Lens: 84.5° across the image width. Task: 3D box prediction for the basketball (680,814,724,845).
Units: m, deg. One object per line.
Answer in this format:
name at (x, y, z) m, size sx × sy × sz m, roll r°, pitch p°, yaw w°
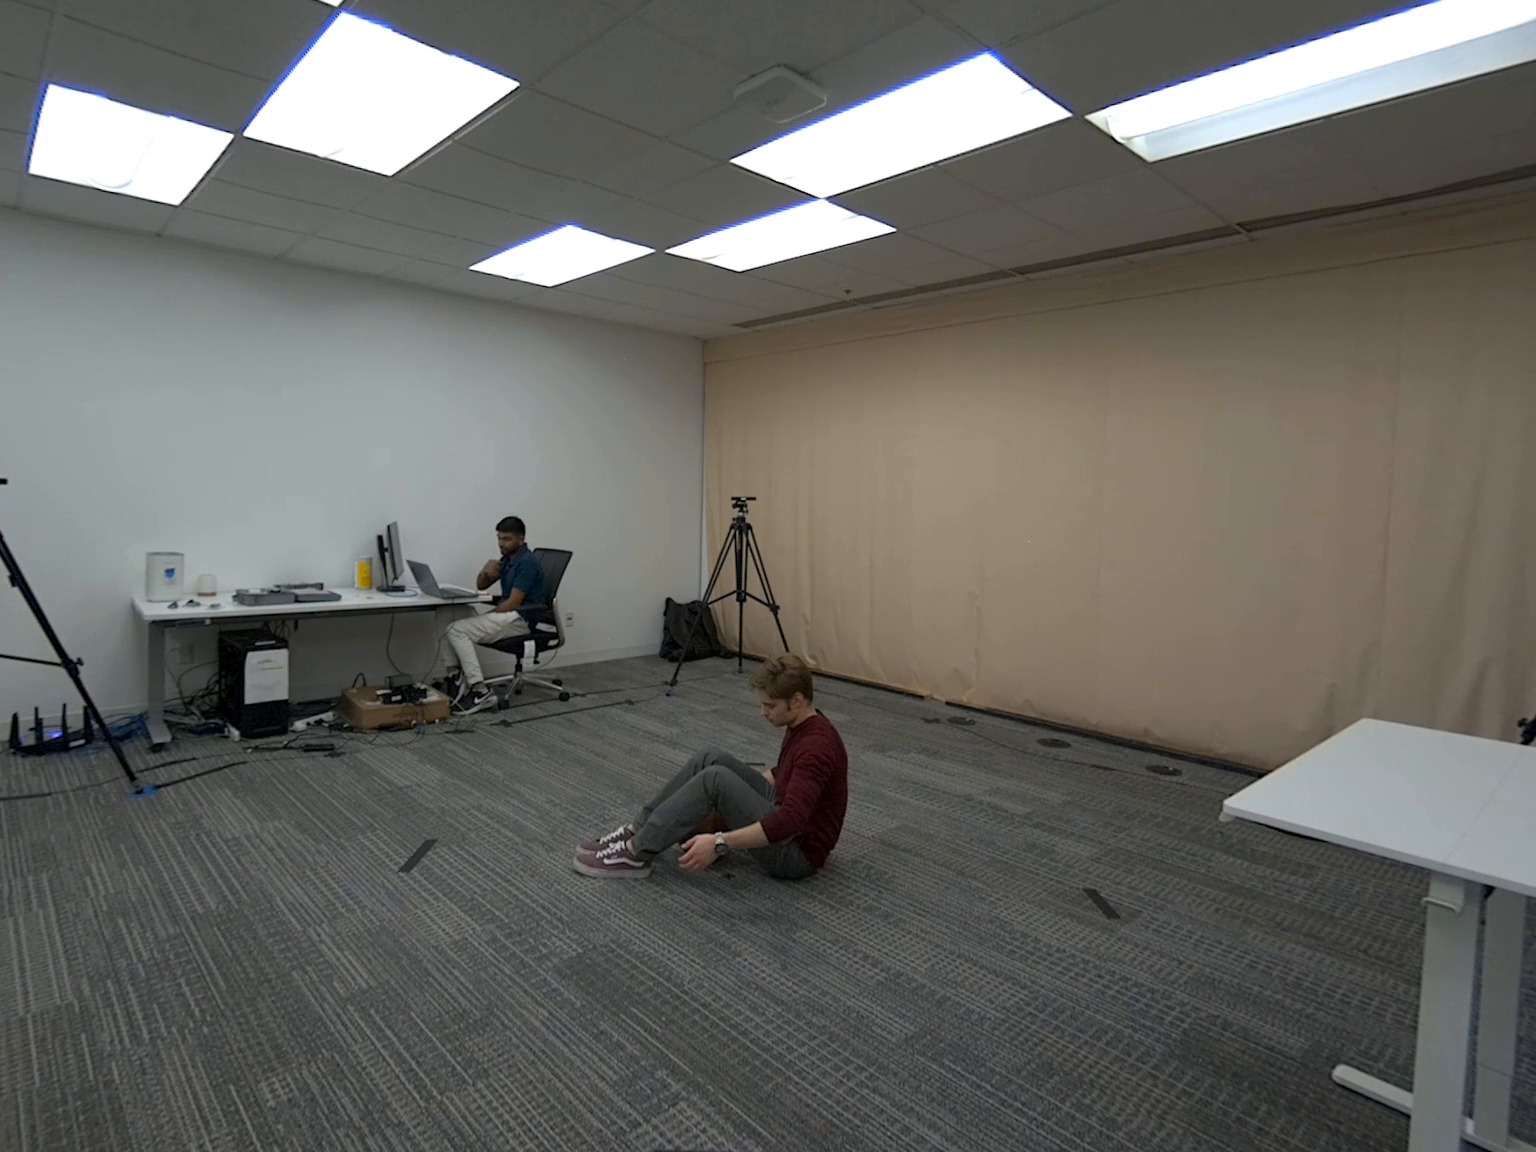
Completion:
basketball at (-0.230, 0.978, 3.249) m, size 0.236 × 0.235 × 0.237 m, roll 1°, pitch 4°, yaw -1°
